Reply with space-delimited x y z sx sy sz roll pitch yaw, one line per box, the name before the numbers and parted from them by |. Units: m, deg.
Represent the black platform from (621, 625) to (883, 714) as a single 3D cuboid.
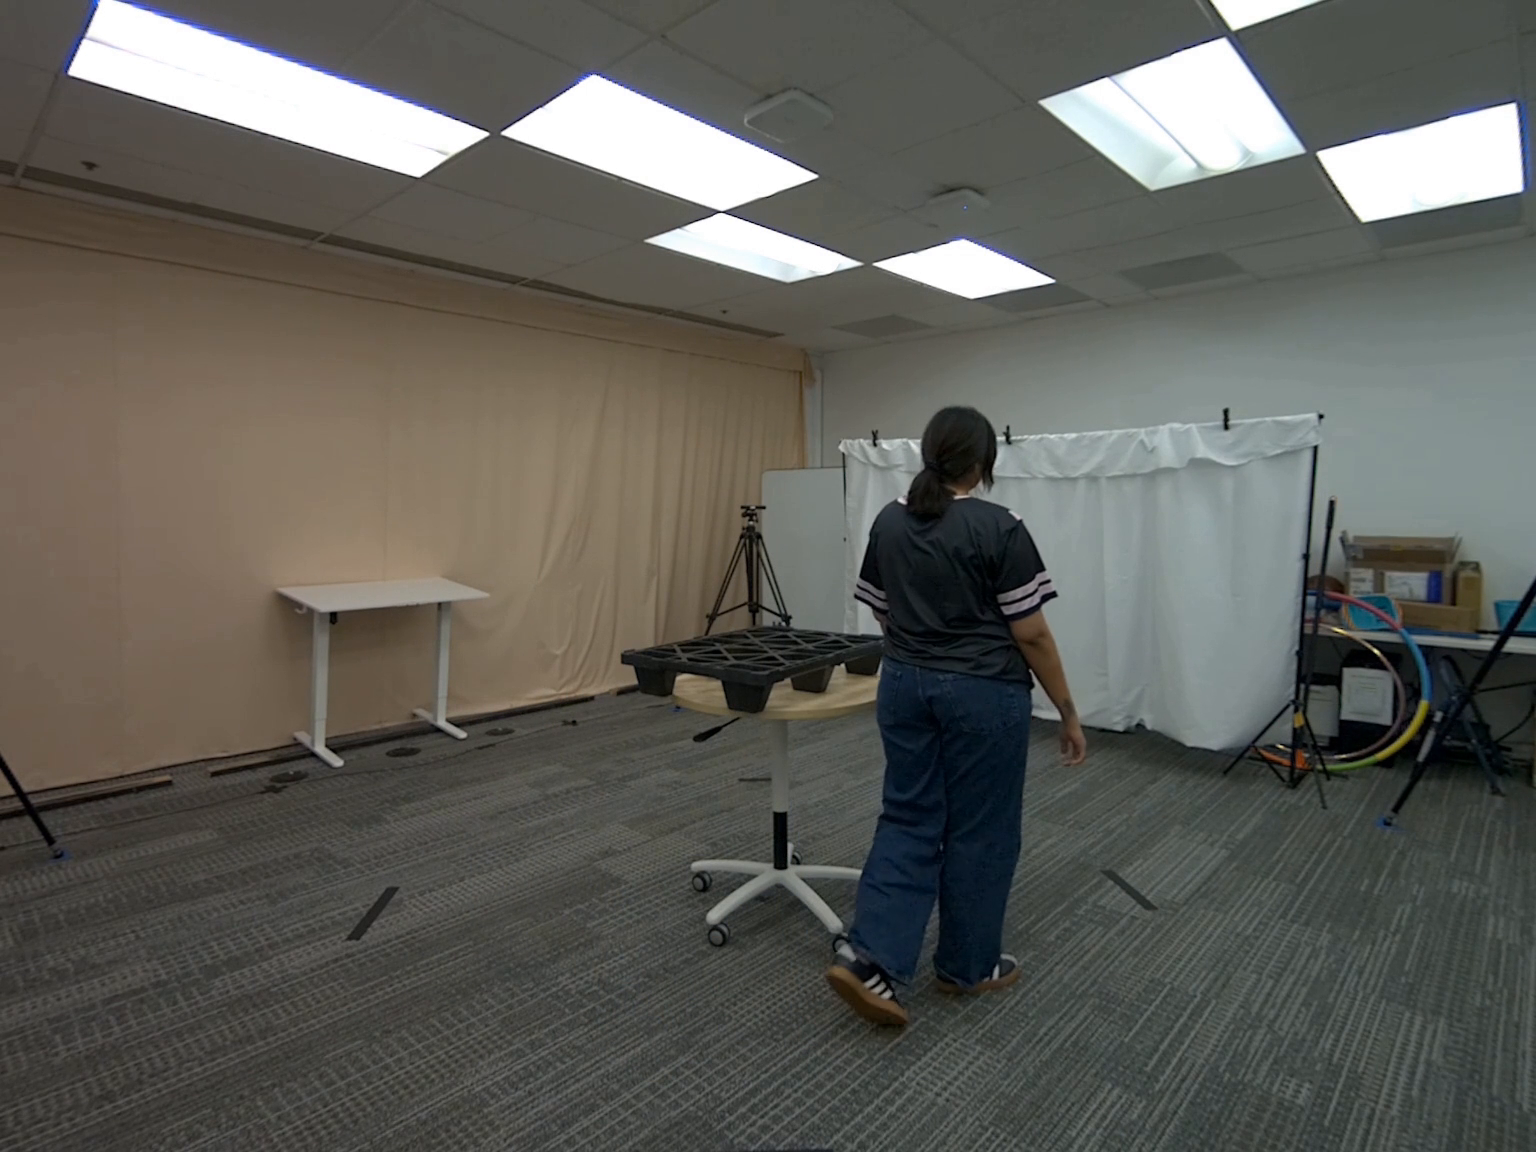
black platform | -0.022 0.308 2.876 0.625 0.143 0.782 2 6 39
